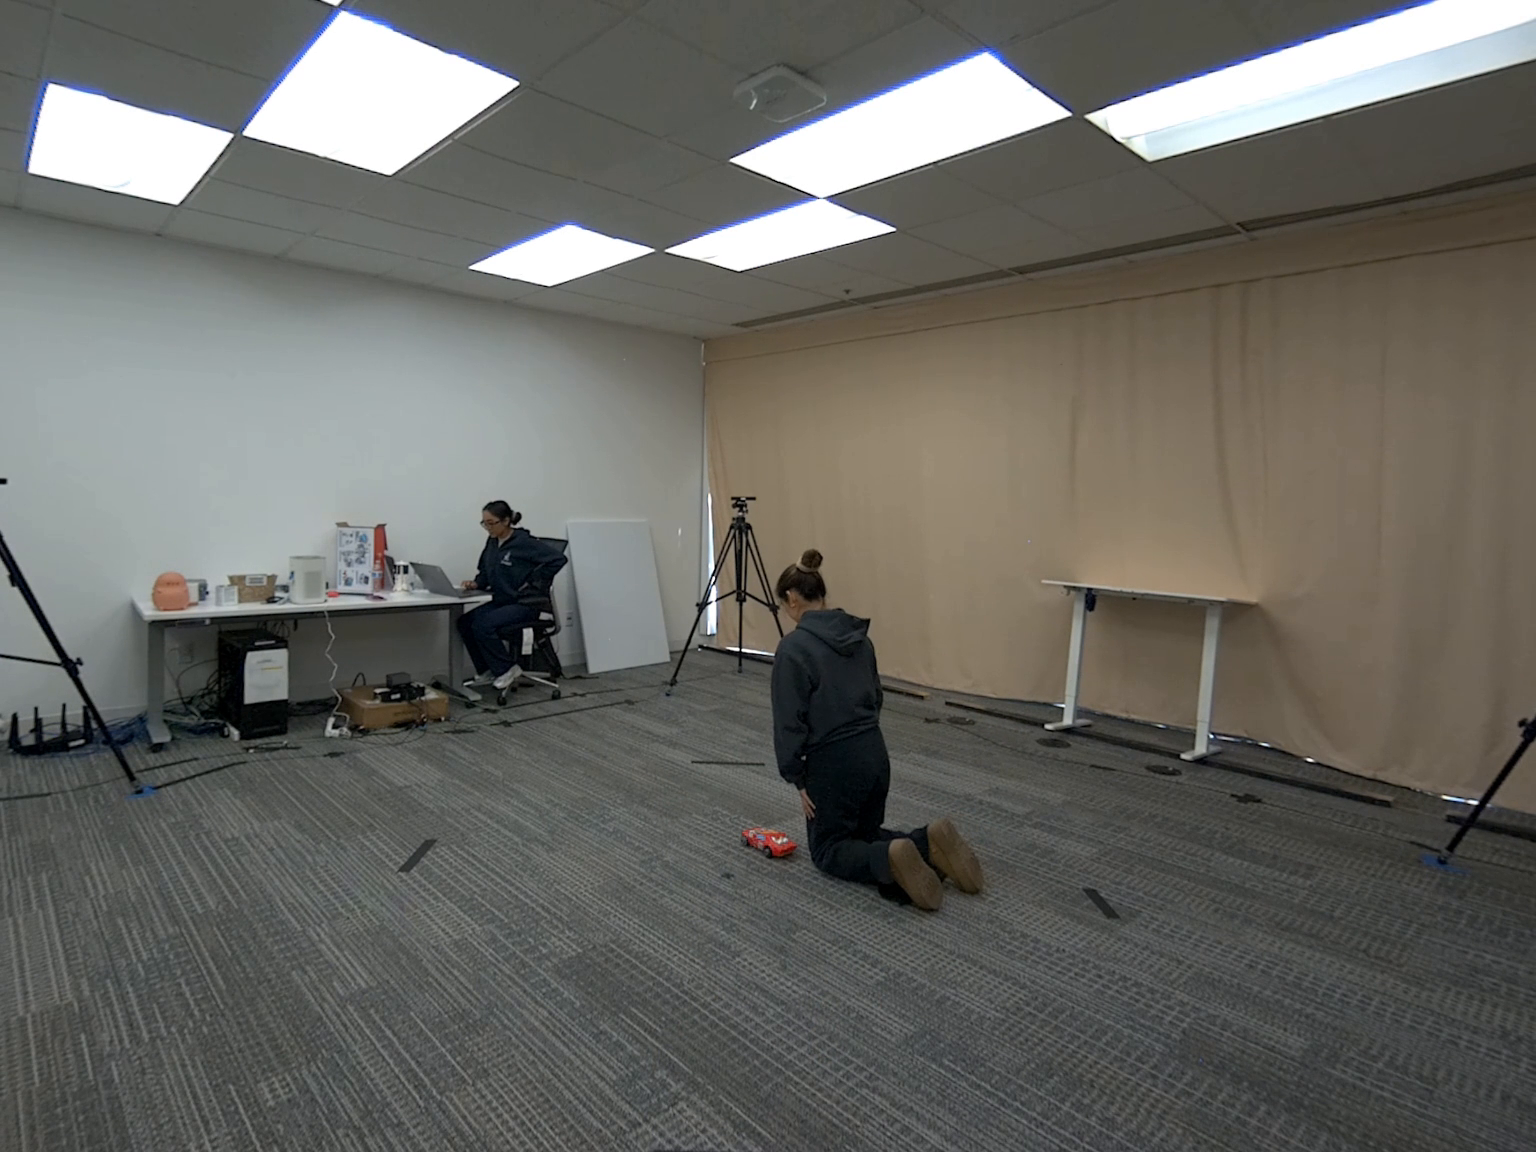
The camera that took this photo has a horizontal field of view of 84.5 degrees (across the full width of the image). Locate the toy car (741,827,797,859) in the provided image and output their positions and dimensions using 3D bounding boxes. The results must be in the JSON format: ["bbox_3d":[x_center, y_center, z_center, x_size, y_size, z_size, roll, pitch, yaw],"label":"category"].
[{"bbox_3d":[0.000,1.052,3.360,0.127,0.083,0.259,-2,-5,-39],"label":"toy car"}]
